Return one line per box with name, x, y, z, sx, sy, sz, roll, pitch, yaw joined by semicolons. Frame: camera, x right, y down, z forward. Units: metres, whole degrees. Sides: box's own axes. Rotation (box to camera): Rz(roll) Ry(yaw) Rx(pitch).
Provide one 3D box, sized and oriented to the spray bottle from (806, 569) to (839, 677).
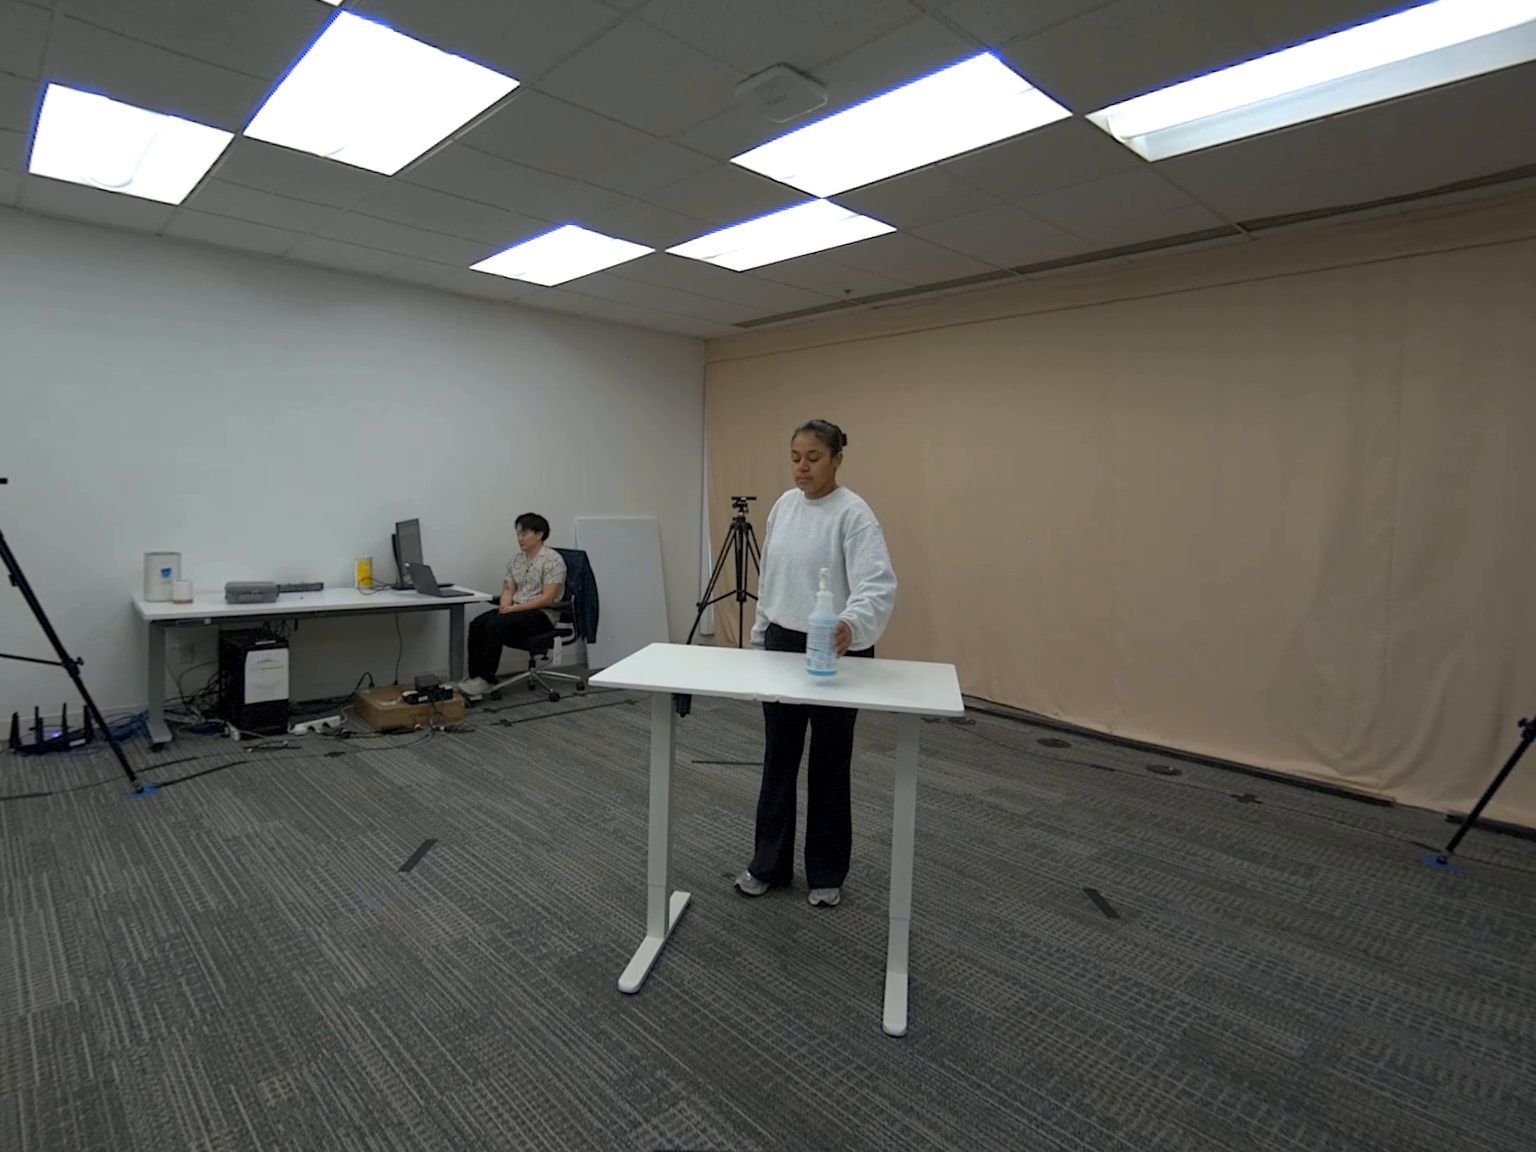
spray bottle;0.139;0.130;2.326;0.089;0.297;0.088;3;4;39
